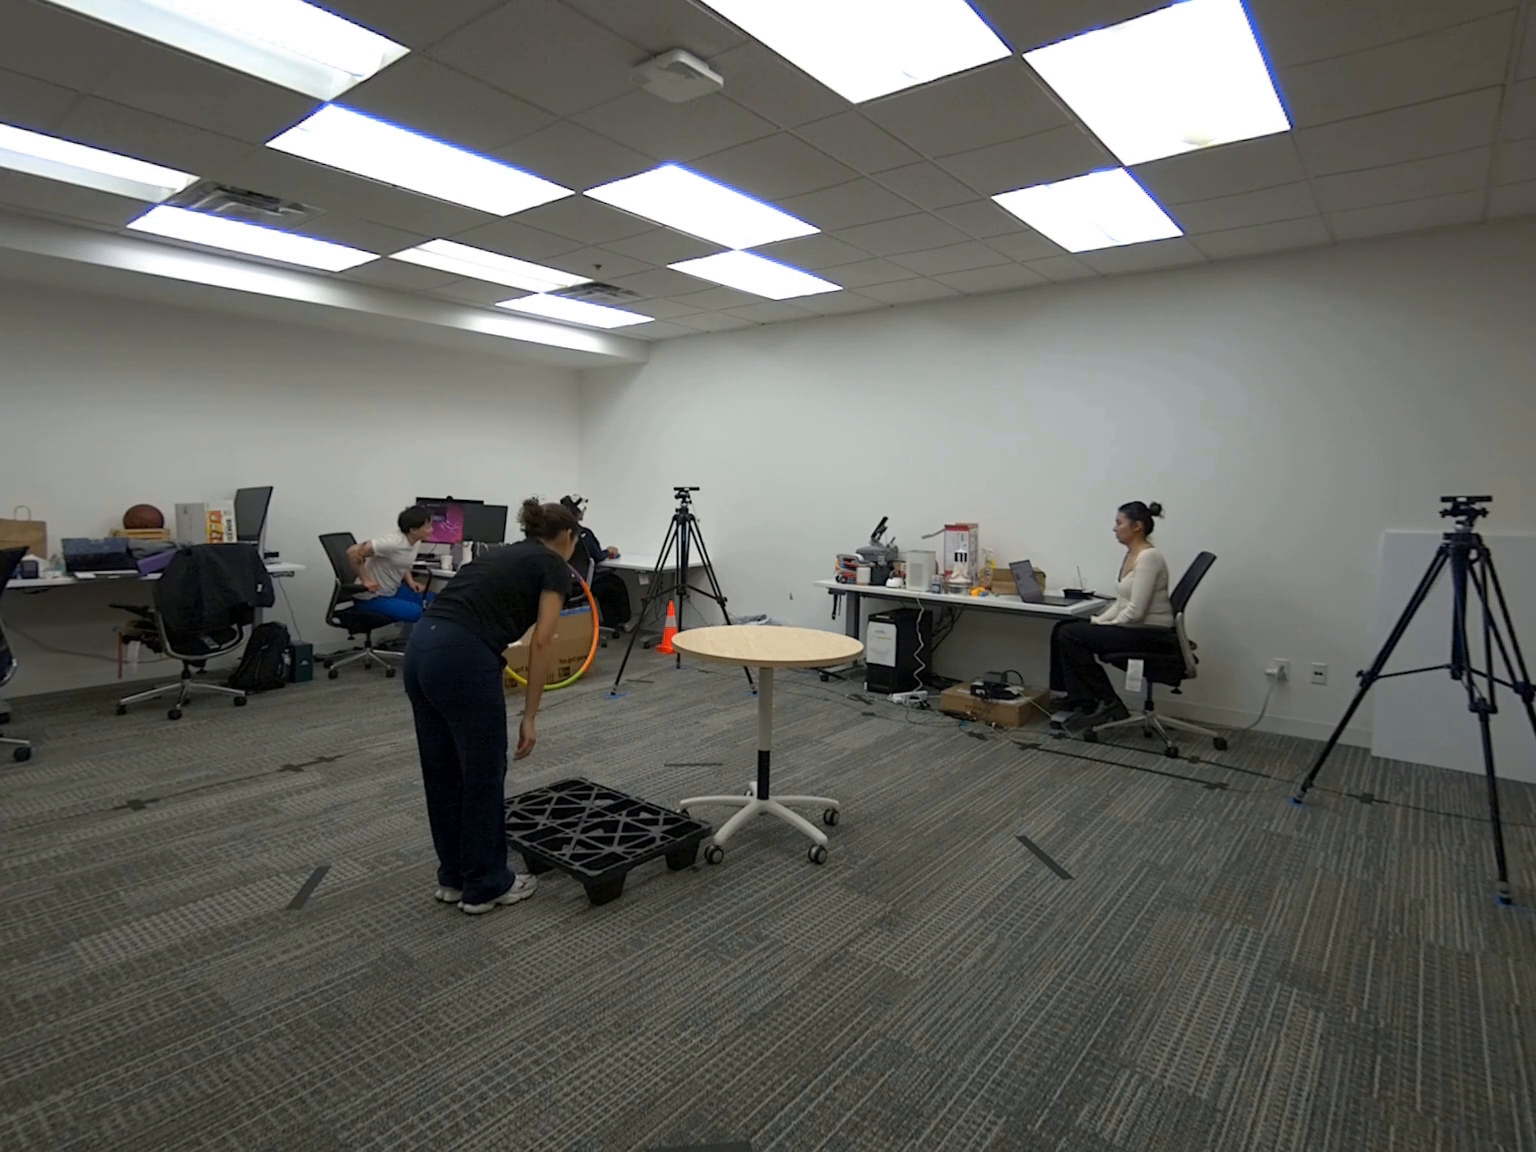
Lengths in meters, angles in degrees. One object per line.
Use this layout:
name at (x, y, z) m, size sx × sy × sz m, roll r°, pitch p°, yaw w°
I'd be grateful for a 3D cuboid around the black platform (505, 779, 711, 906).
black platform at (-0.685, 0.982, 3.234) m, size 0.833 × 0.143 × 0.587 m, roll 5°, pitch 7°, yaw 40°
